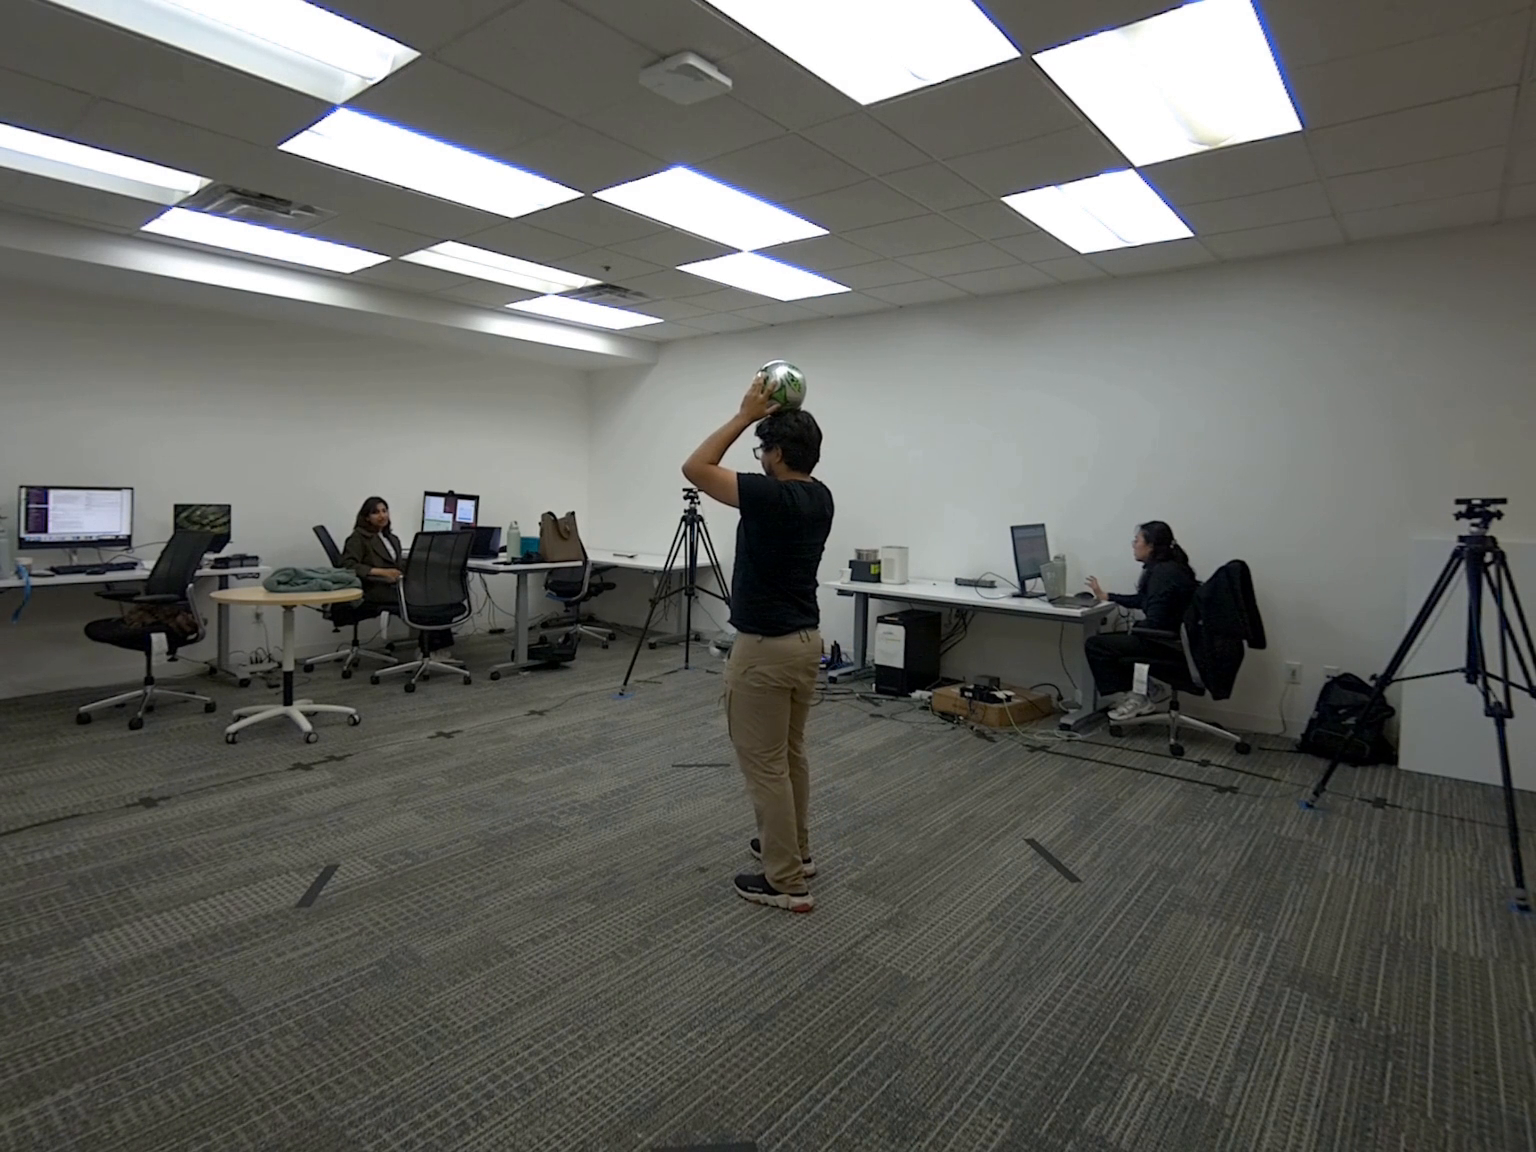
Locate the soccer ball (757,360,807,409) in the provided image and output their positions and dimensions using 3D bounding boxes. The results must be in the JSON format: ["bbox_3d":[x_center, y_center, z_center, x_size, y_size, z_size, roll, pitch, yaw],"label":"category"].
[{"bbox_3d":[0.030,-0.636,2.889,0.187,0.187,0.188,1,4,-2],"label":"soccer ball"}]
